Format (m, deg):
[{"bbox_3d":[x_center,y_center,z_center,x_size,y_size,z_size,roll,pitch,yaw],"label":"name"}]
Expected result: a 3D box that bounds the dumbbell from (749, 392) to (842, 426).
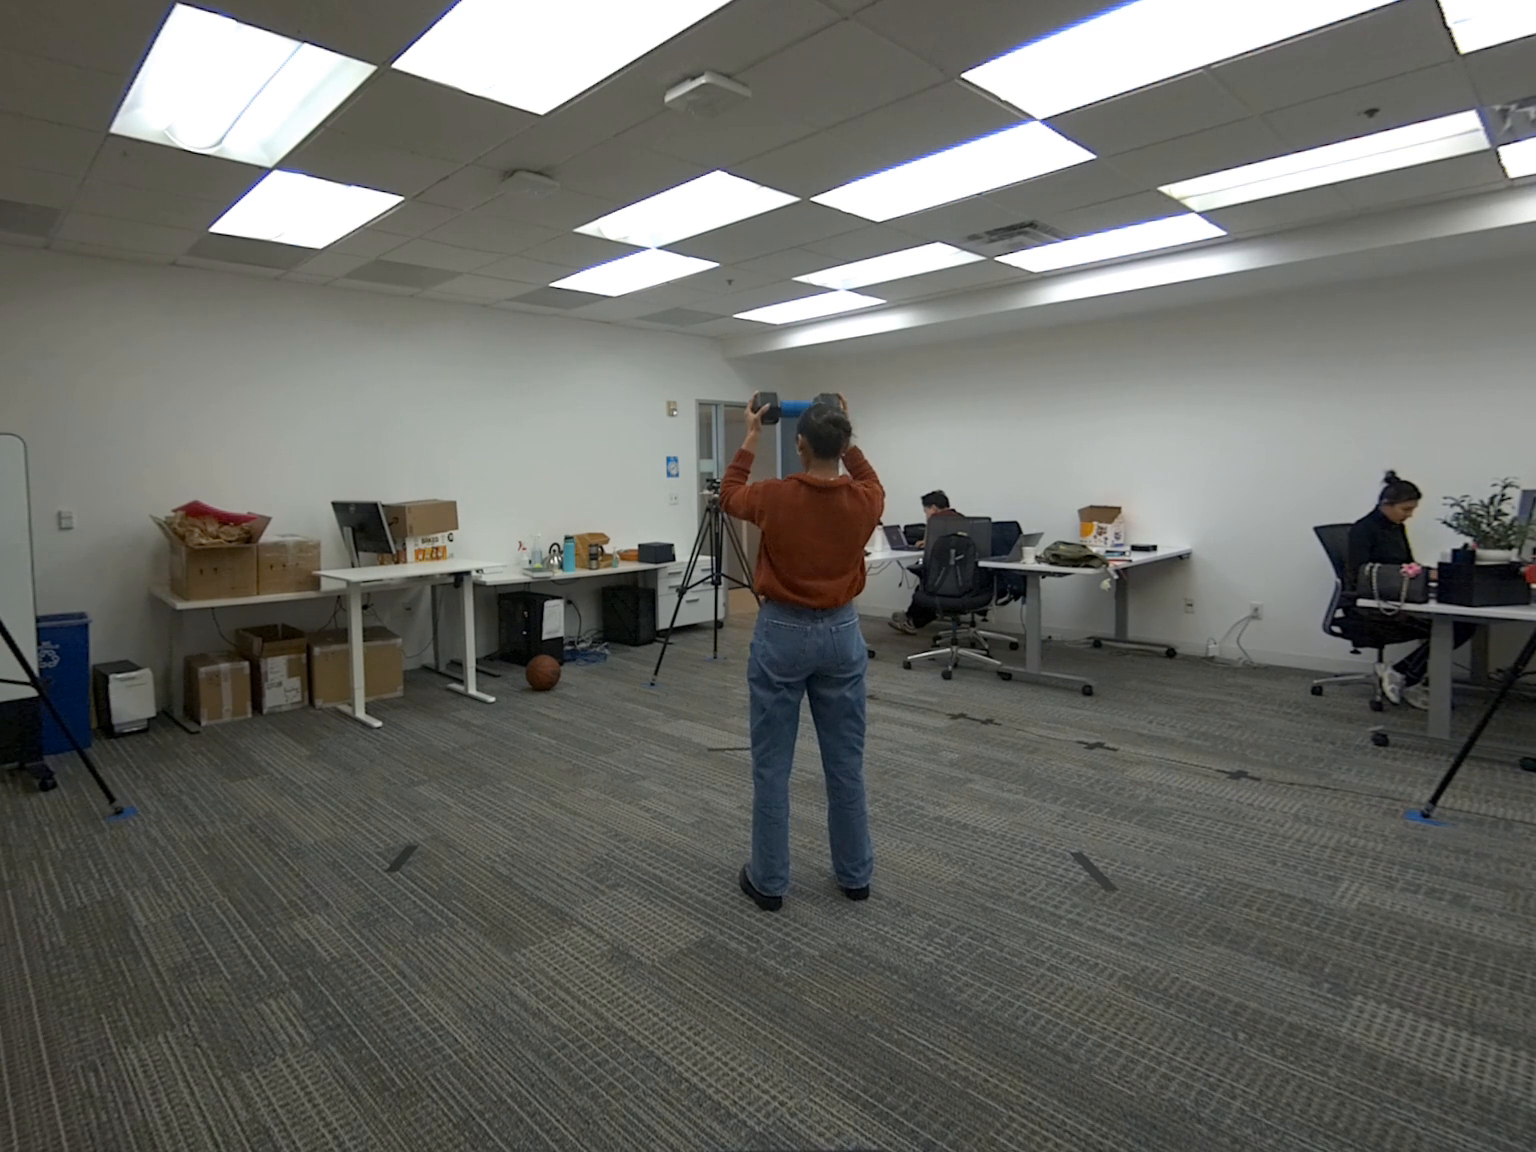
[{"bbox_3d":[0.105,-0.578,2.941,0.291,0.120,0.112,0,37,-7],"label":"dumbbell"}]
